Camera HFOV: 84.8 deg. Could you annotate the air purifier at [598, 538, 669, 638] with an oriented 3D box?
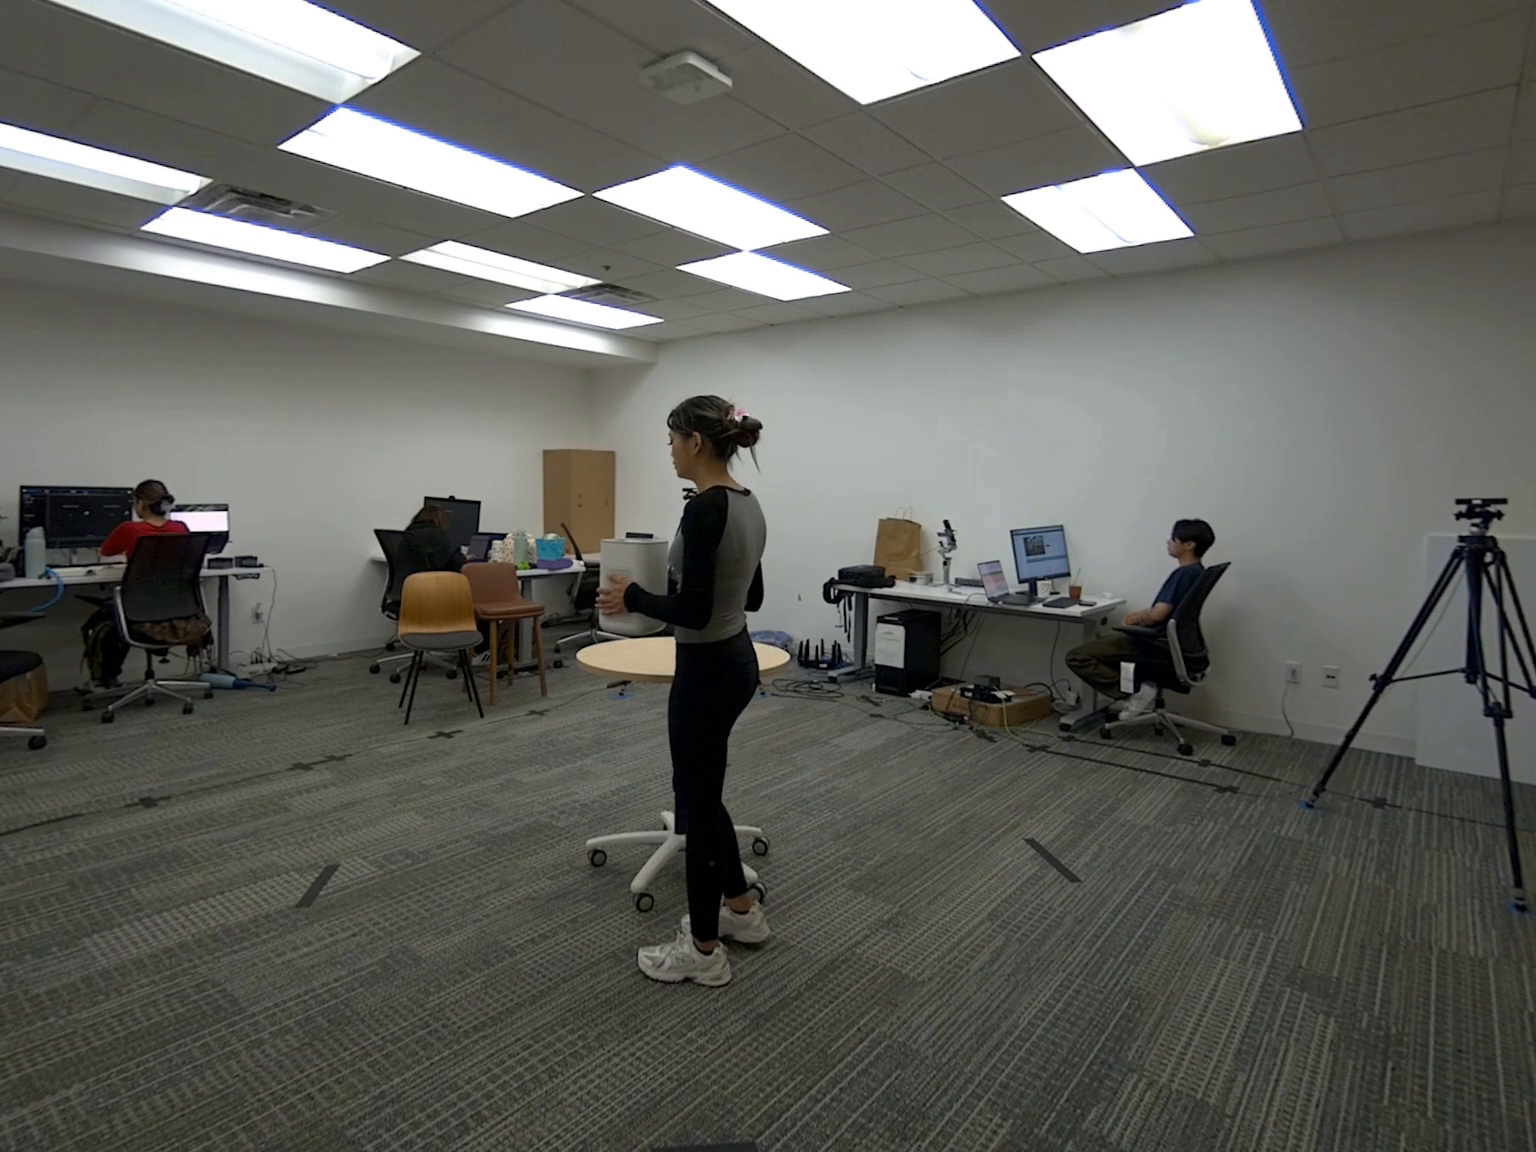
[{"bbox_3d":[-0.397,0.028,2.478,0.175,0.264,0.168,4,4,21],"label":"air purifier"}]
